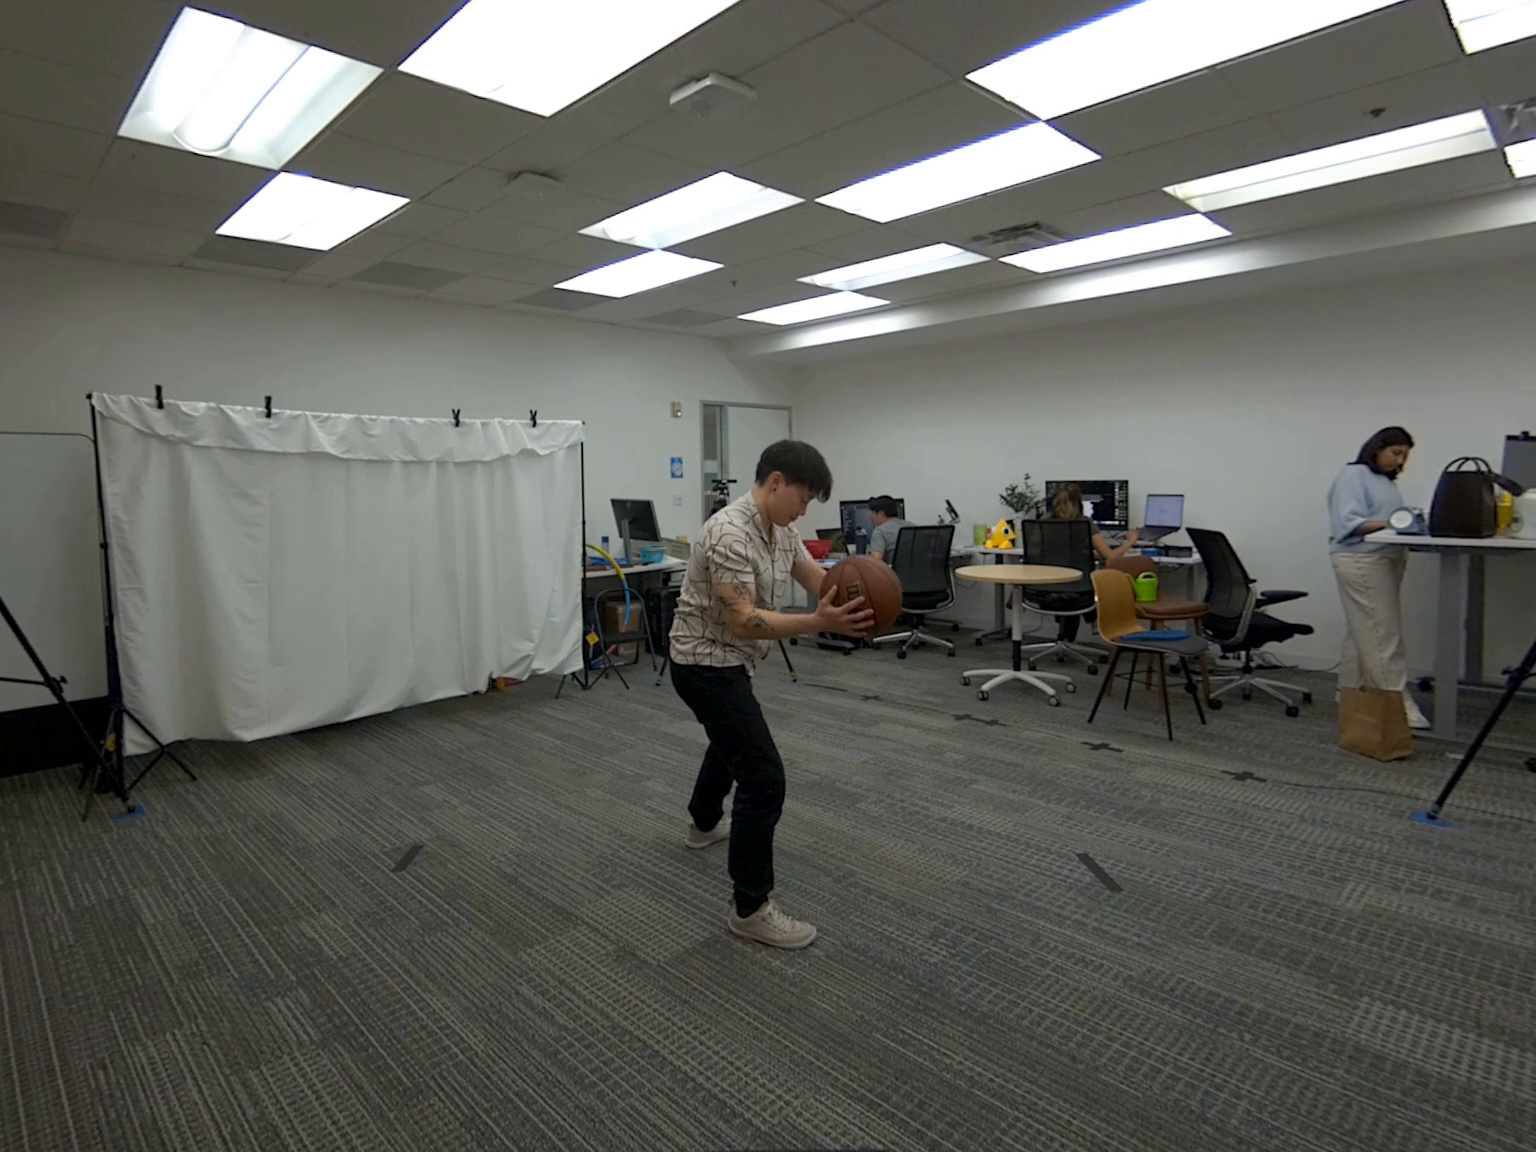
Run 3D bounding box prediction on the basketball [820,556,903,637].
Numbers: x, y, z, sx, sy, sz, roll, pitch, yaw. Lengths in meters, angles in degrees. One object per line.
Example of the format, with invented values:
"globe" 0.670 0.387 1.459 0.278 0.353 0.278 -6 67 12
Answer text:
"basketball" 0.269 0.062 2.482 0.236 0.235 0.237 -1 5 -2
